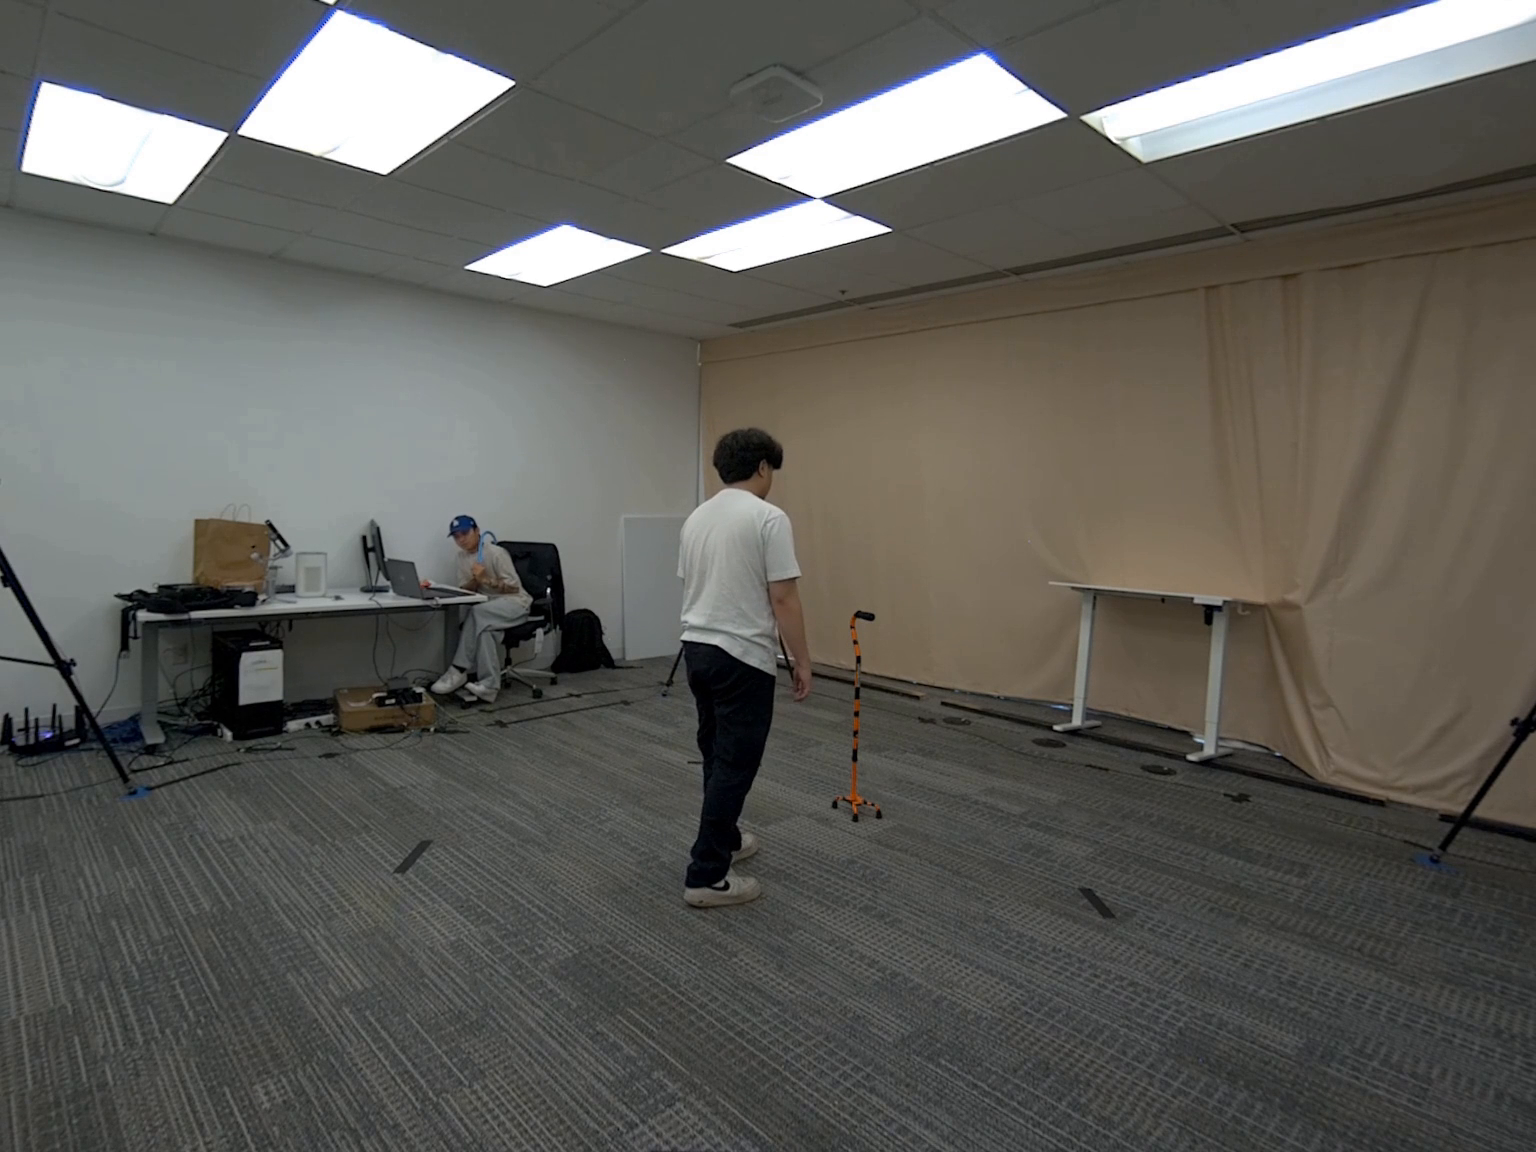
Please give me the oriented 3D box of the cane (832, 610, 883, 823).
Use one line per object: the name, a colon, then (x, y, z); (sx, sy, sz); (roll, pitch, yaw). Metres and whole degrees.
cane: (0.402, 0.614, 3.762); (0.149, 0.906, 0.210); (0, 3, -24)
